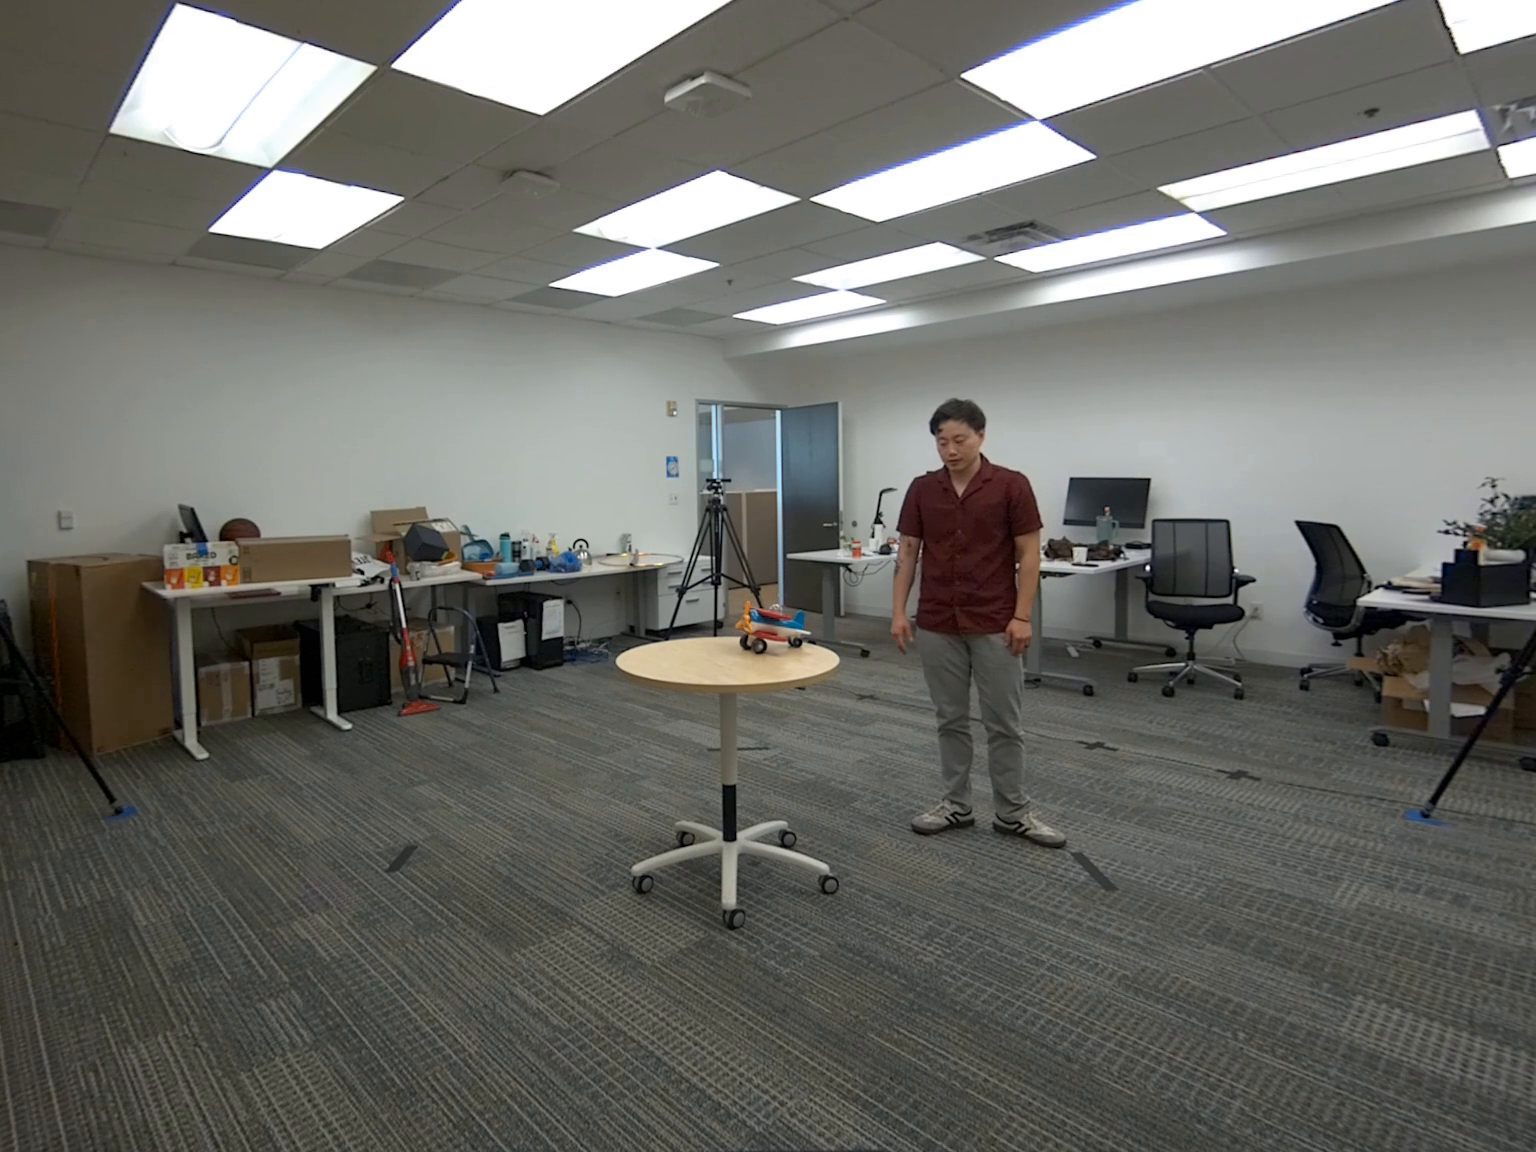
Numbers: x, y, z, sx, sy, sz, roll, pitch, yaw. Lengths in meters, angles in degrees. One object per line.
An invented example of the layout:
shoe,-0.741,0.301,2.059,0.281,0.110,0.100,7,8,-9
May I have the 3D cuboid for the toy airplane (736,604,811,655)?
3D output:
toy airplane,0.014,0.186,3.090,0.258,0.155,0.253,4,8,33
